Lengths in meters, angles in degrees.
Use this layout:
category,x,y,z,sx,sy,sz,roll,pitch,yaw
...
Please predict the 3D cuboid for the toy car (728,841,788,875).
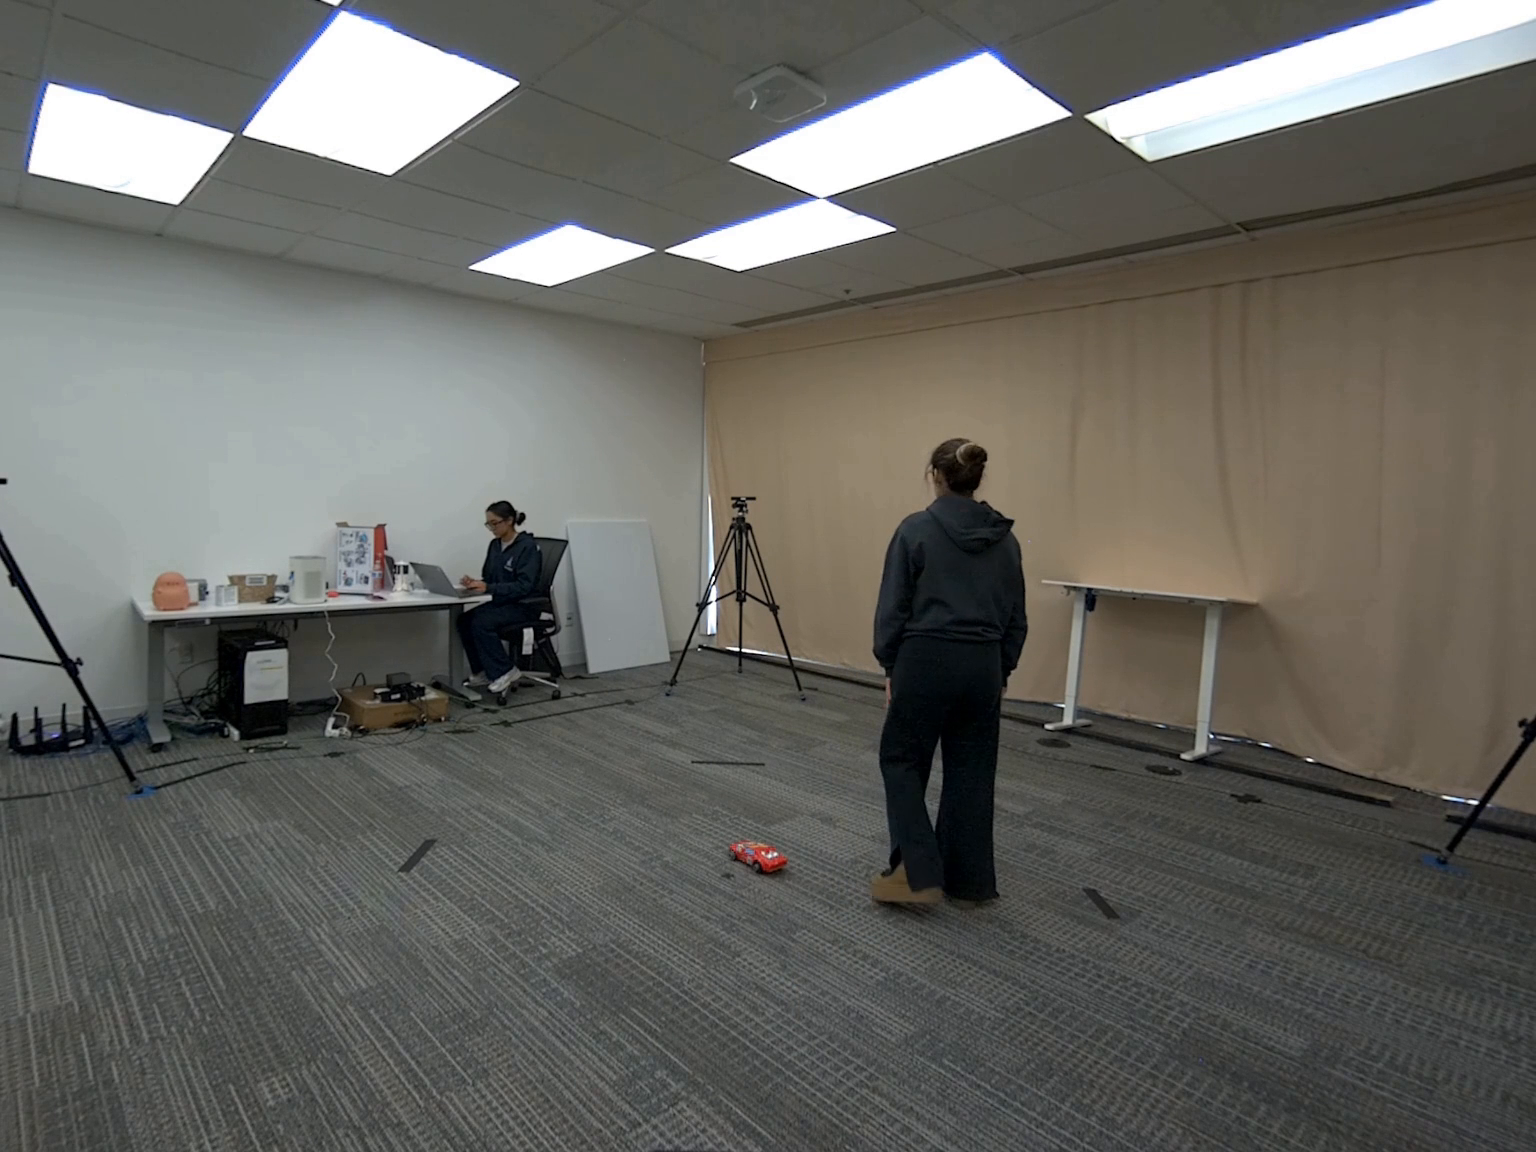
category,x,y,z,sx,sy,sz,roll,pitch,yaw
toy car,-0.044,1.067,3.212,0.127,0.083,0.259,-2,-4,-41
